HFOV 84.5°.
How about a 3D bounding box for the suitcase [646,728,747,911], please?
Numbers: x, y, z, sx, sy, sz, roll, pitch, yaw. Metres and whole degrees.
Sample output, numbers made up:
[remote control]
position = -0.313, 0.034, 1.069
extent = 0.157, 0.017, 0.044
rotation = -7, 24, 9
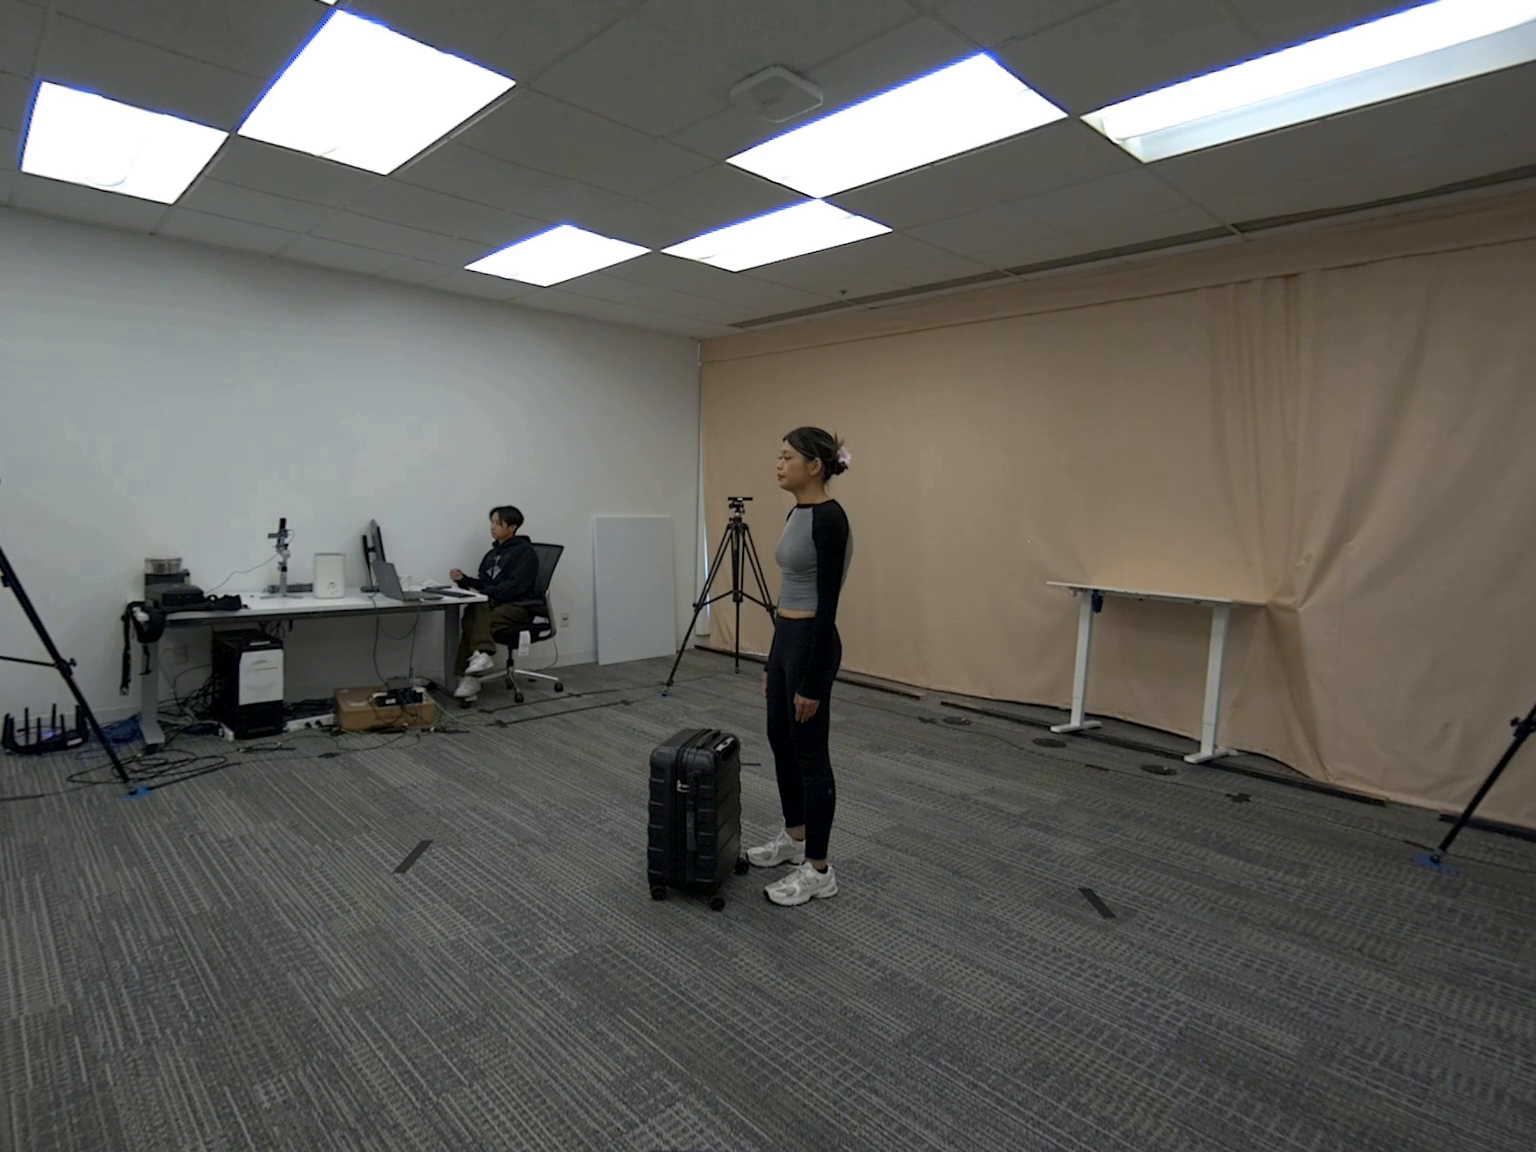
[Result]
[suitcase]
position = -0.264, 0.841, 3.003
extent = 0.252, 0.548, 0.371
rotation = 1, 4, 18
